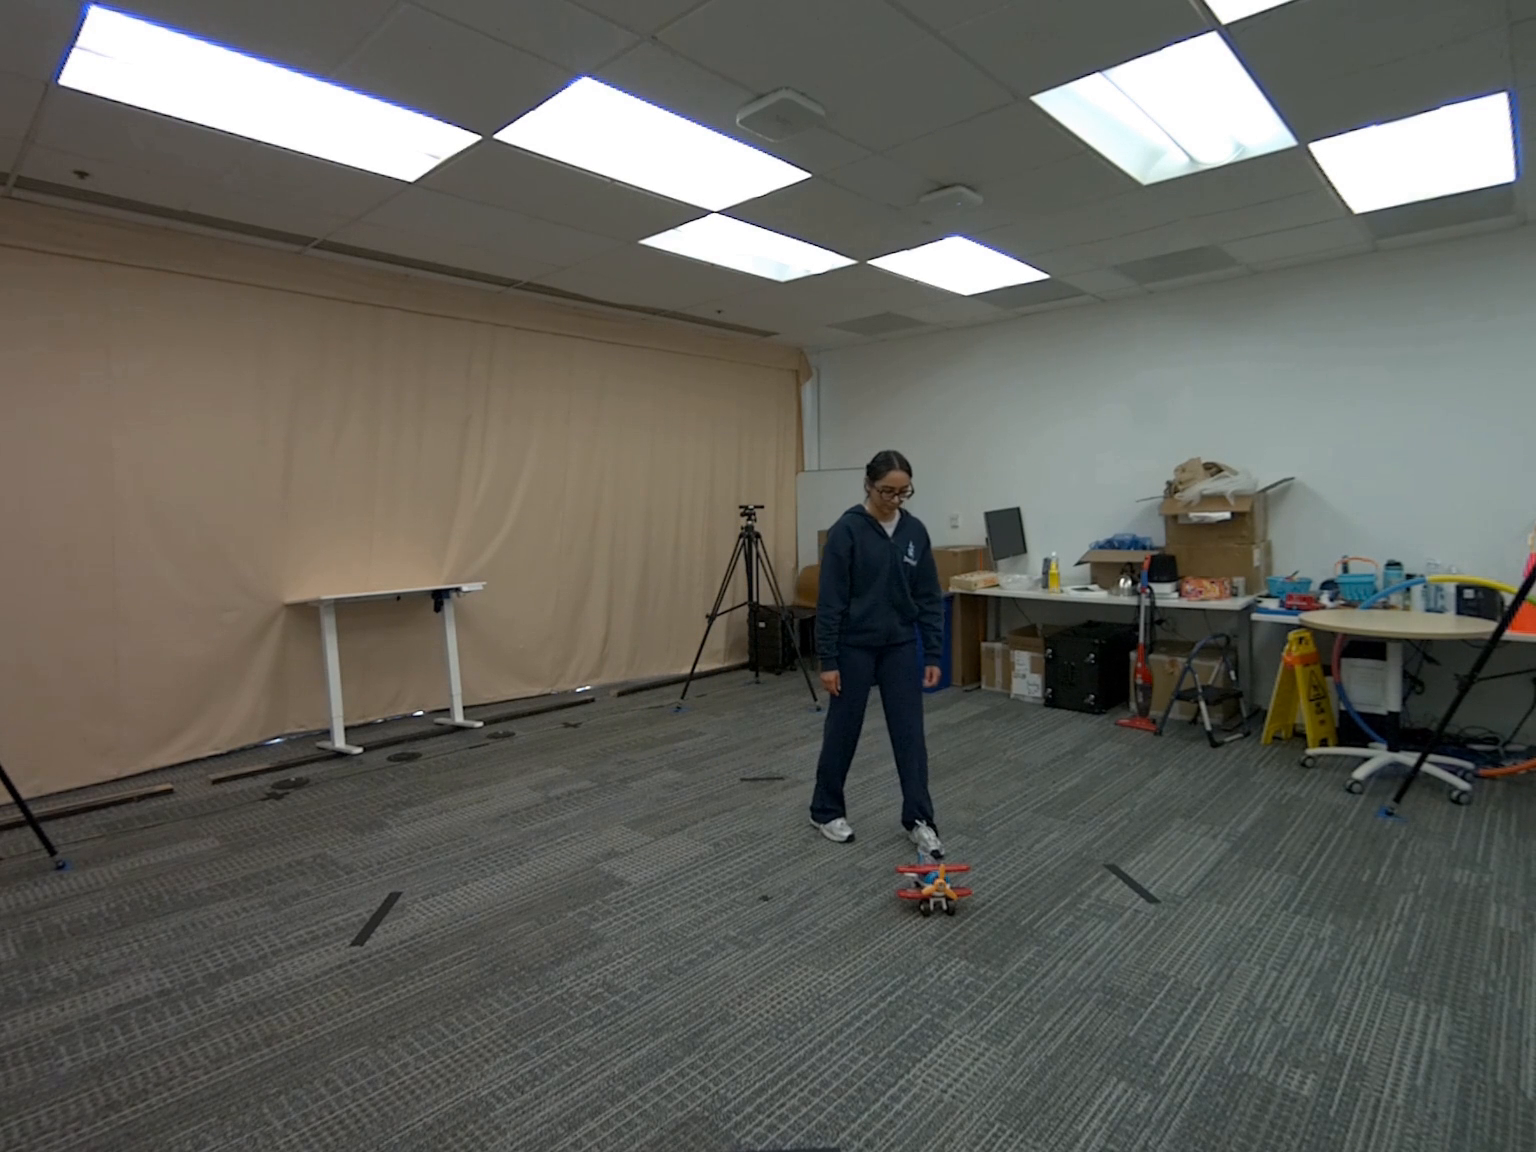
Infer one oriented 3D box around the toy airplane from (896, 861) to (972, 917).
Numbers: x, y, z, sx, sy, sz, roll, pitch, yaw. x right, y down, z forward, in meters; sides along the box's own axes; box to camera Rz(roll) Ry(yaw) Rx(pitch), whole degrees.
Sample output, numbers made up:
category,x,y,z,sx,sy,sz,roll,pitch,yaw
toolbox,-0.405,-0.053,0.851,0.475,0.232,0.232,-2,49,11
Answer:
category,x,y,z,sx,sy,sz,roll,pitch,yaw
toy airplane,0.546,1.061,2.911,0.244,0.156,0.267,-3,7,-31
